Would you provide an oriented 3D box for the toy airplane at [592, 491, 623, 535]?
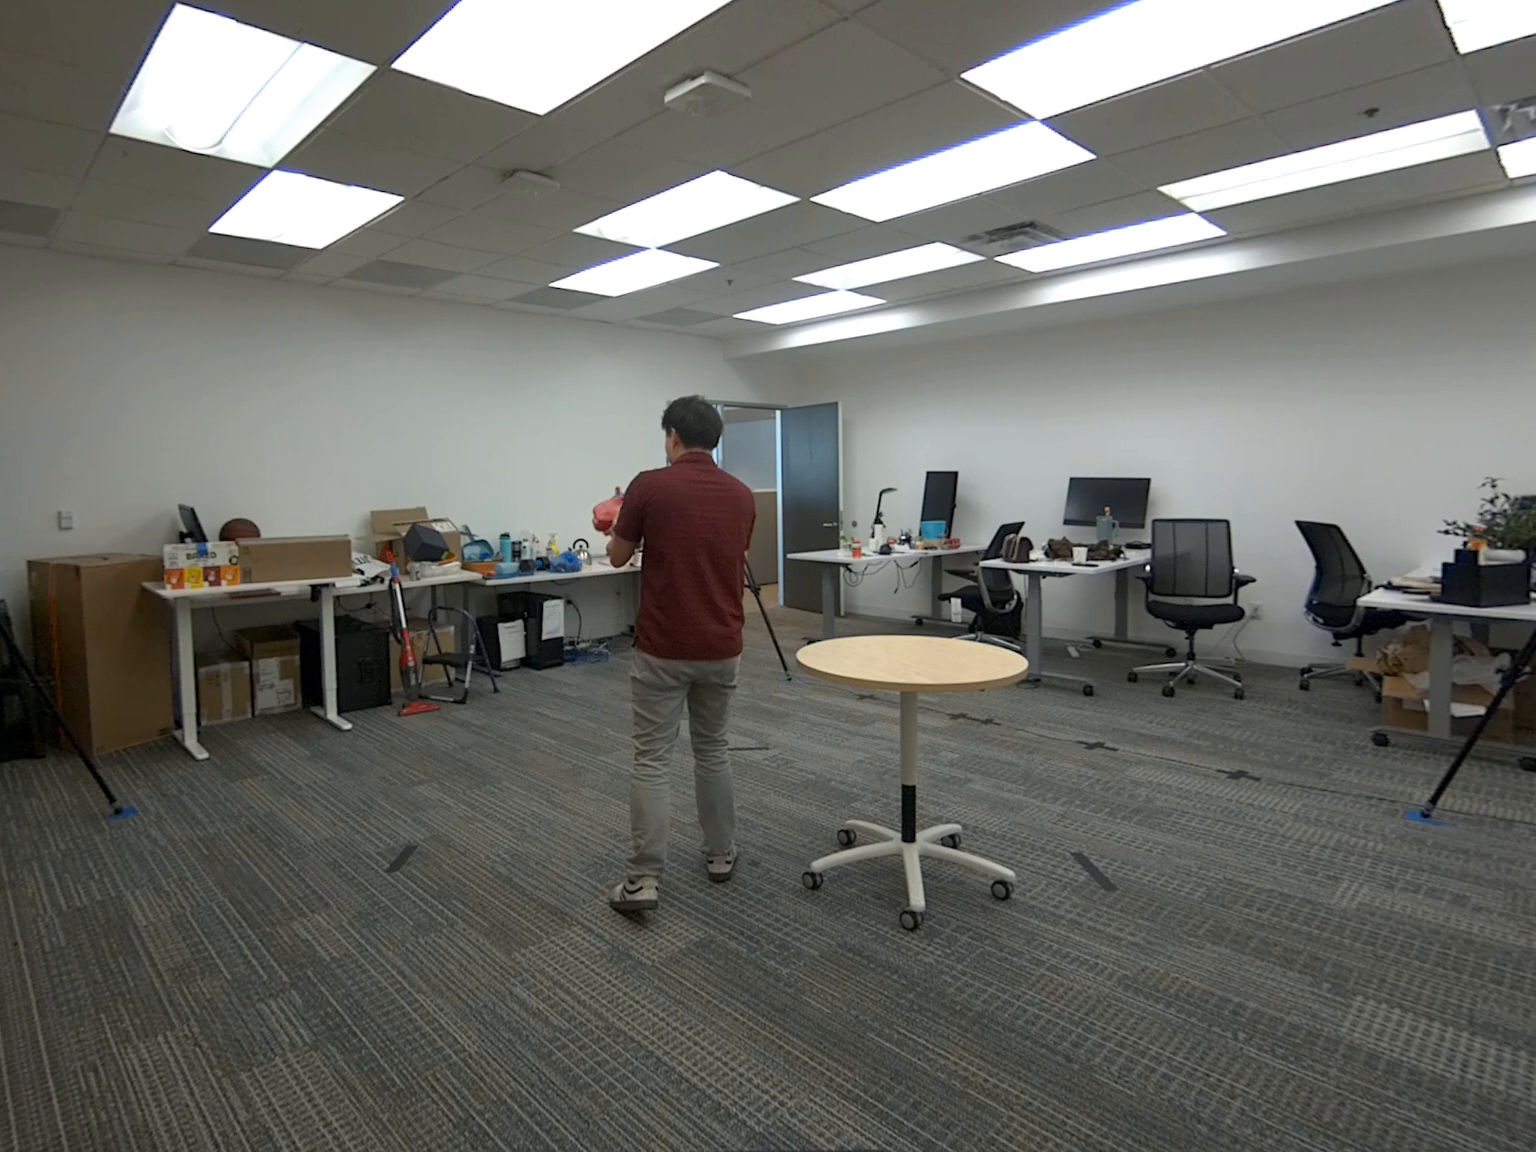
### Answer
[{"bbox_3d":[-0.508,-0.196,3.298,0.267,0.153,0.250,36,55,22],"label":"toy airplane"}]
